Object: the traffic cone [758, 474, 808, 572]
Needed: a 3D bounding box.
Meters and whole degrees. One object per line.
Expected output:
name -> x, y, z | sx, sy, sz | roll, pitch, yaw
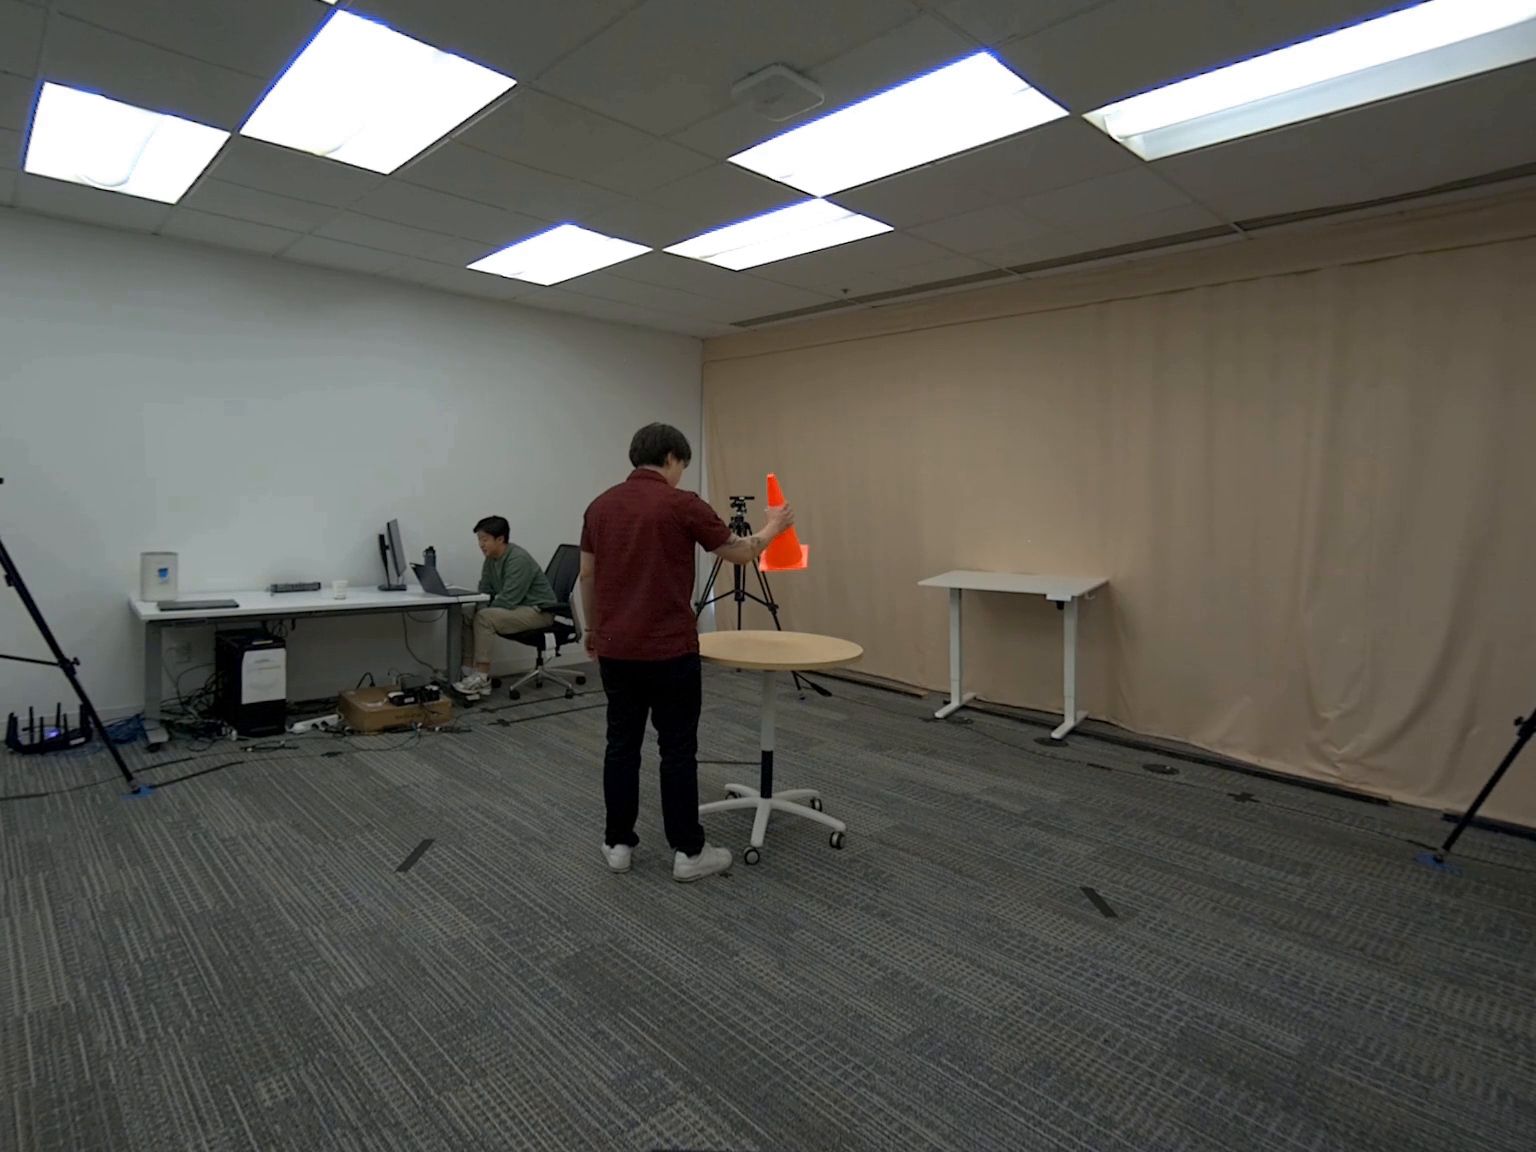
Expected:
traffic cone -> 0.030, -0.224, 3.413 | 0.203, 0.375, 0.210 | -13, 29, -3
